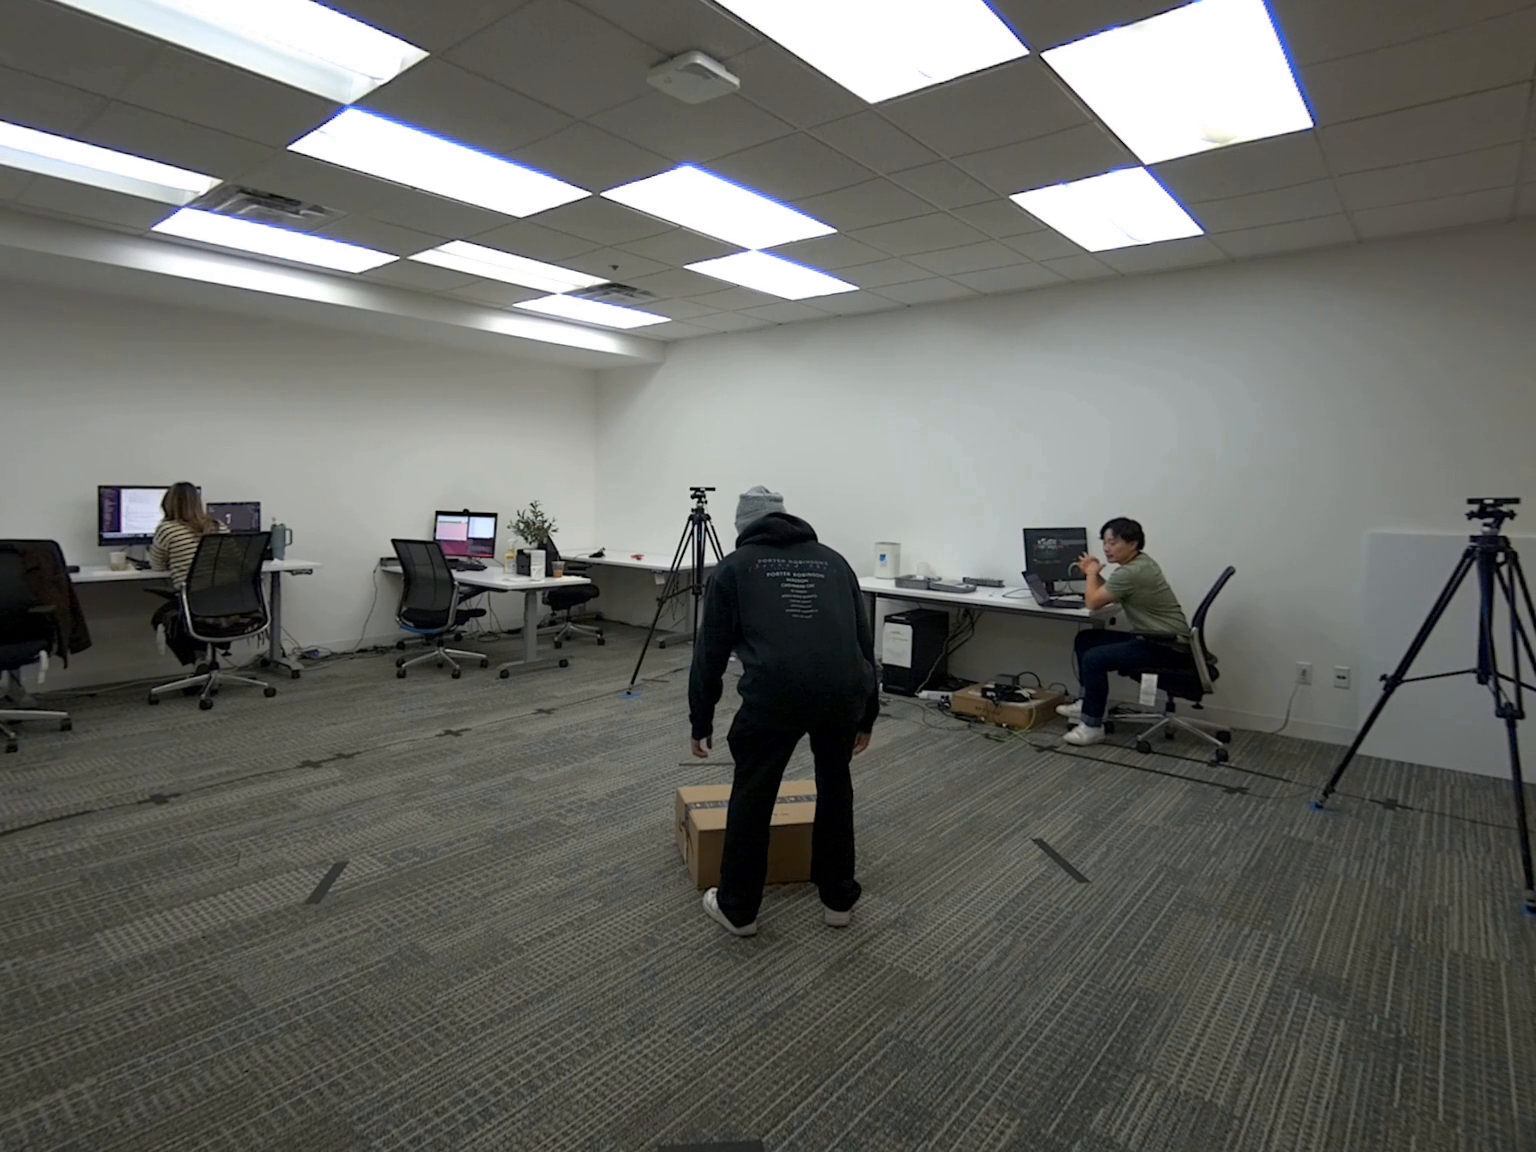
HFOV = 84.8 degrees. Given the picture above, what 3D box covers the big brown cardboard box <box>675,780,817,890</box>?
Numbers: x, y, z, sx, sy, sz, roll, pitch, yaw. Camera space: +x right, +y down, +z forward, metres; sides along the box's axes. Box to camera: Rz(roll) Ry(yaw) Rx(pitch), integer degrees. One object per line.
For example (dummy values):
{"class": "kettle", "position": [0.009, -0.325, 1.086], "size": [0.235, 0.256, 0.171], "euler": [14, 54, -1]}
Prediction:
{"class": "big brown cardboard box", "position": [-0.035, 0.950, 3.185], "size": [0.581, 0.232, 0.425], "euler": [1, 6, -13]}
